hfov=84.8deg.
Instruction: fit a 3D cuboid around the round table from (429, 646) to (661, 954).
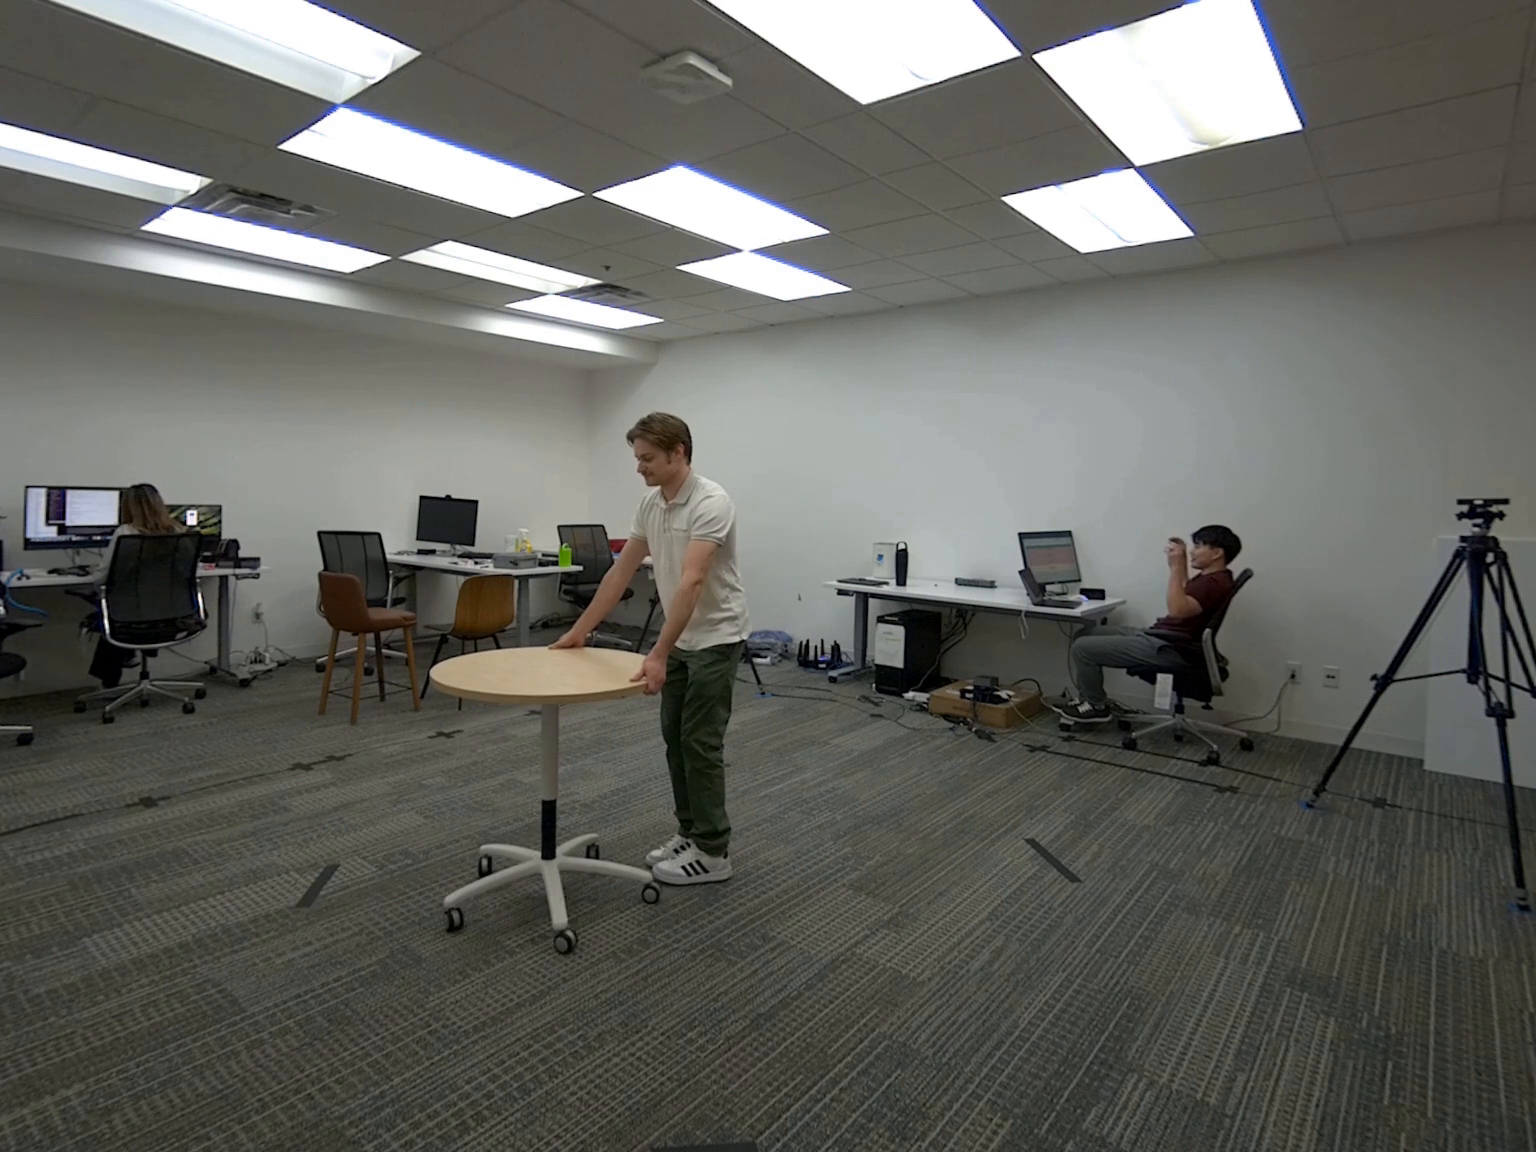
[{"bbox_3d":[-0.744,0.698,2.848,0.763,0.791,0.768,1,4,-2],"label":"round table"}]
